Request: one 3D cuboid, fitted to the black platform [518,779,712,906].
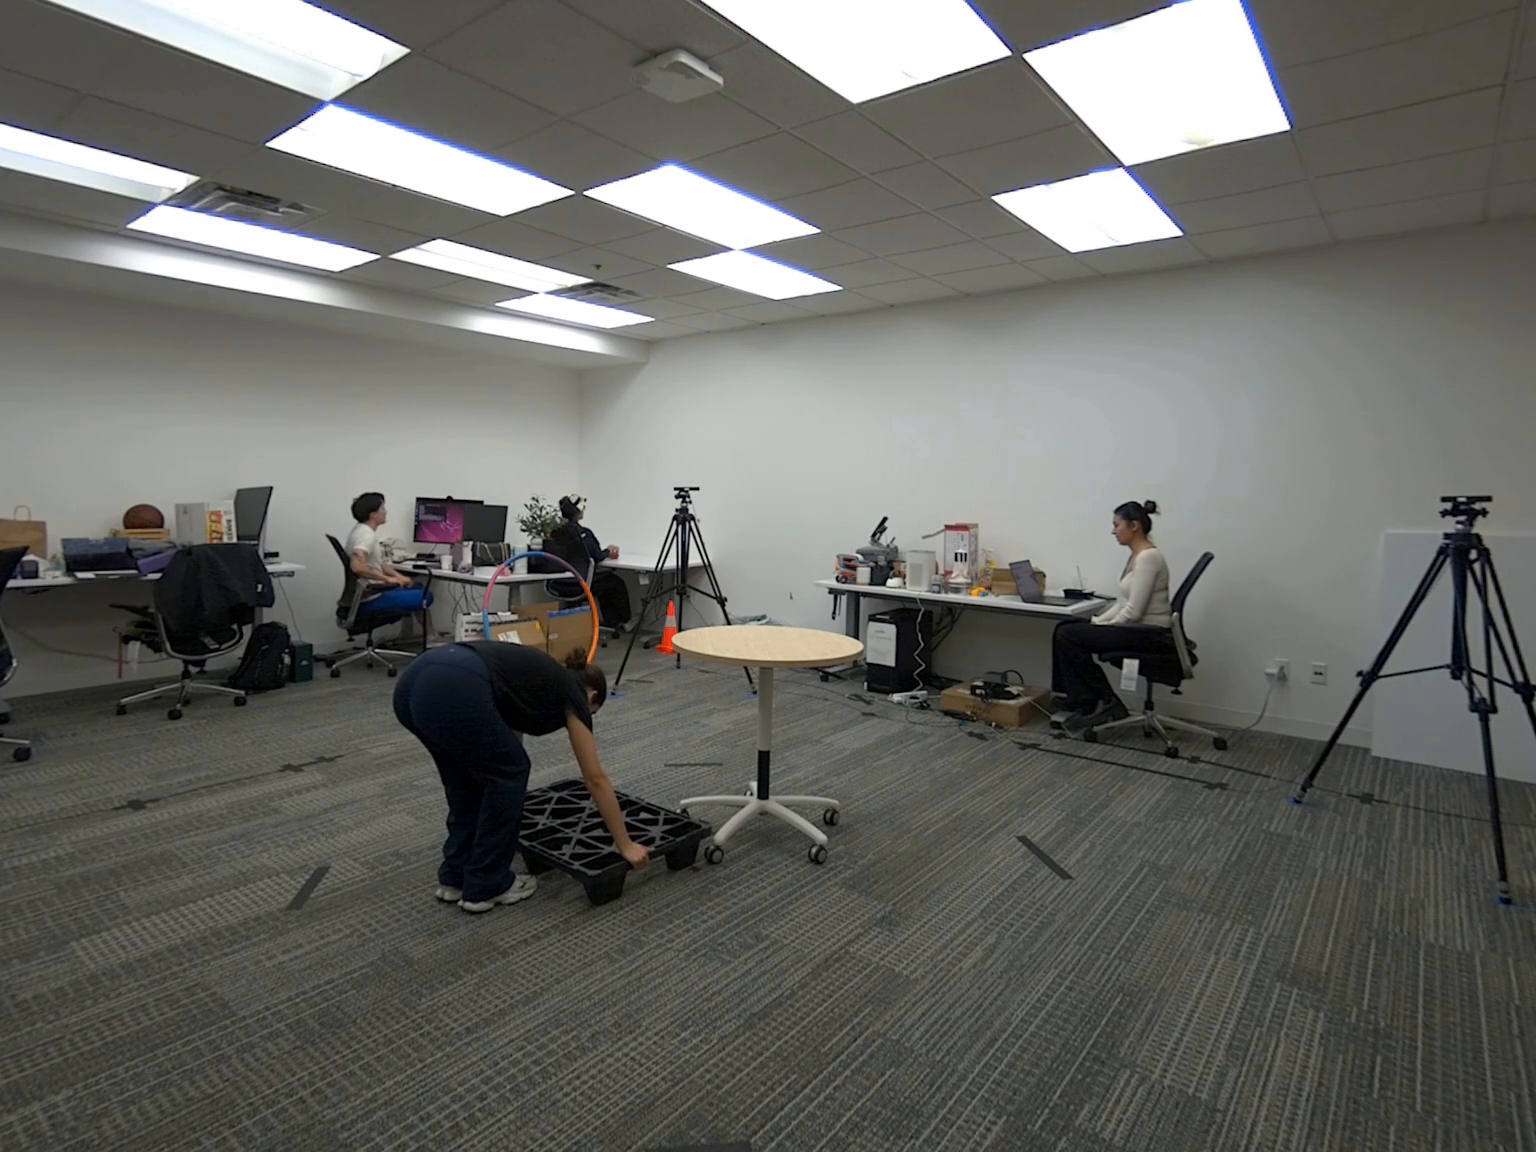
[{"bbox_3d":[-0.685,0.979,3.233,0.833,0.143,0.587,5,7,40],"label":"black platform"}]
